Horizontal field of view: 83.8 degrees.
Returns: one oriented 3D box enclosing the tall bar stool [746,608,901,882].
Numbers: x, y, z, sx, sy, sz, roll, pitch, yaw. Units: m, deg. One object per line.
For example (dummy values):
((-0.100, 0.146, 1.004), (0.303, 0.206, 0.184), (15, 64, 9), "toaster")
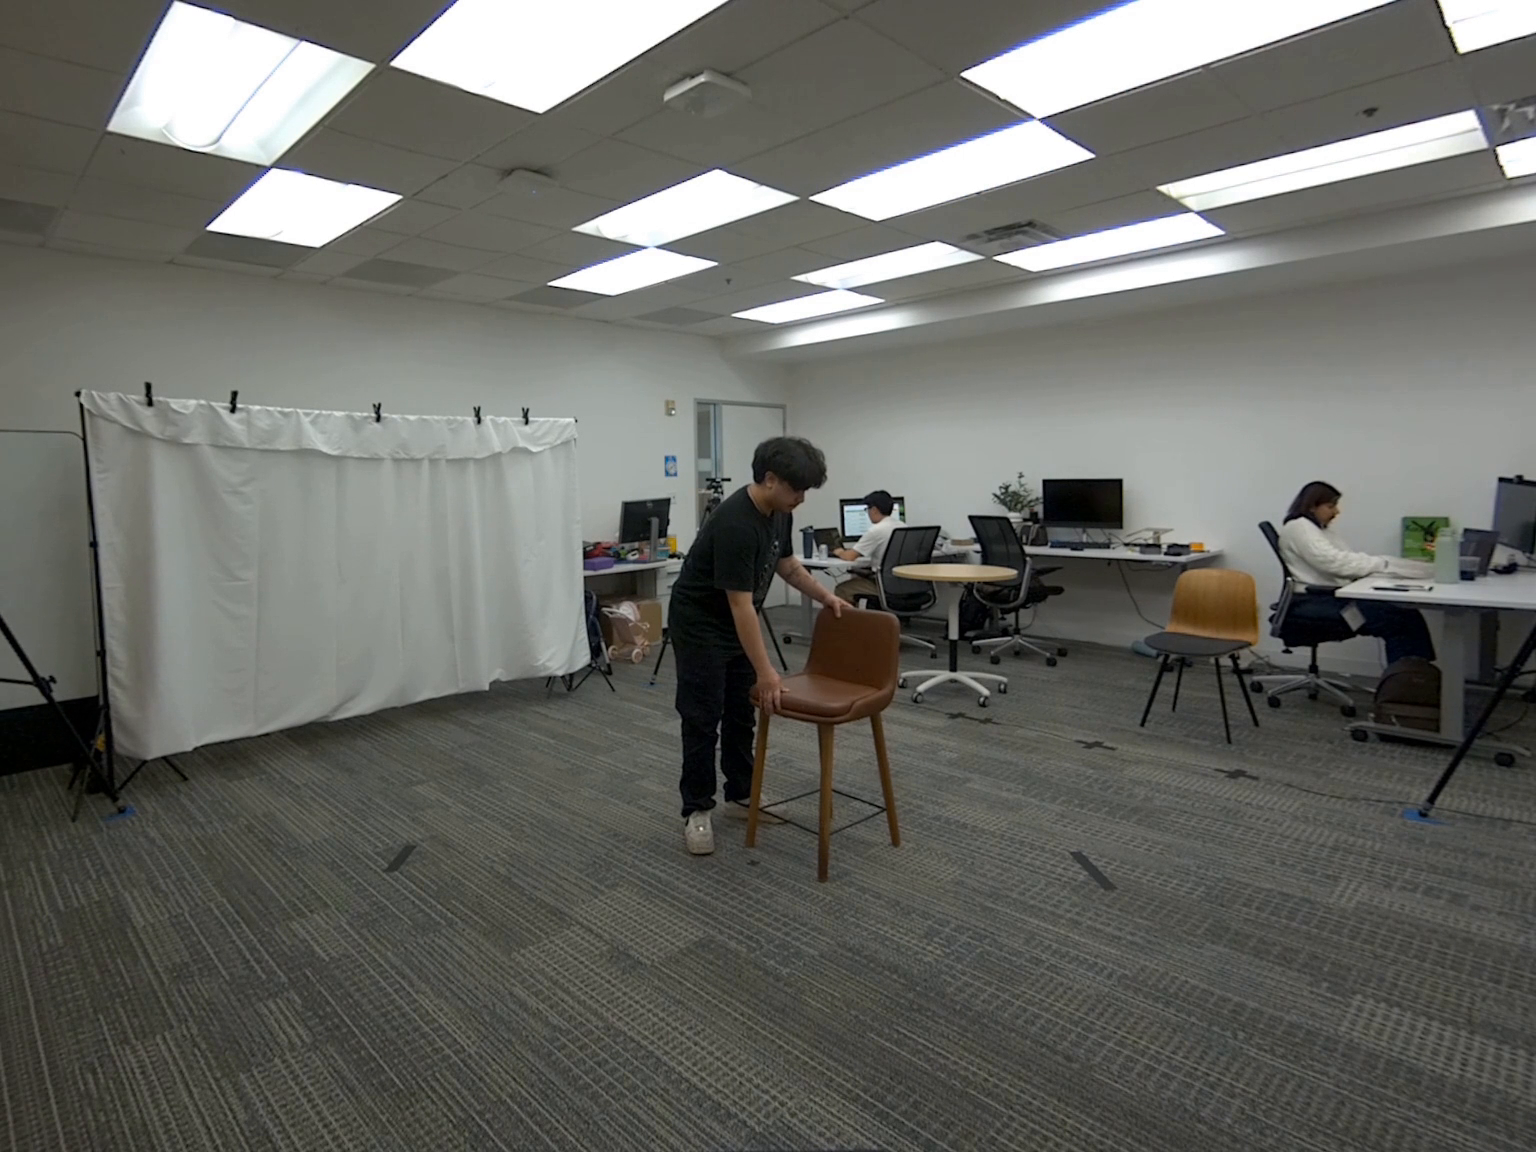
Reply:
((0.217, 0.587, 3.211), (0.454, 0.888, 0.470), (-1, 3, -41), "tall bar stool")
